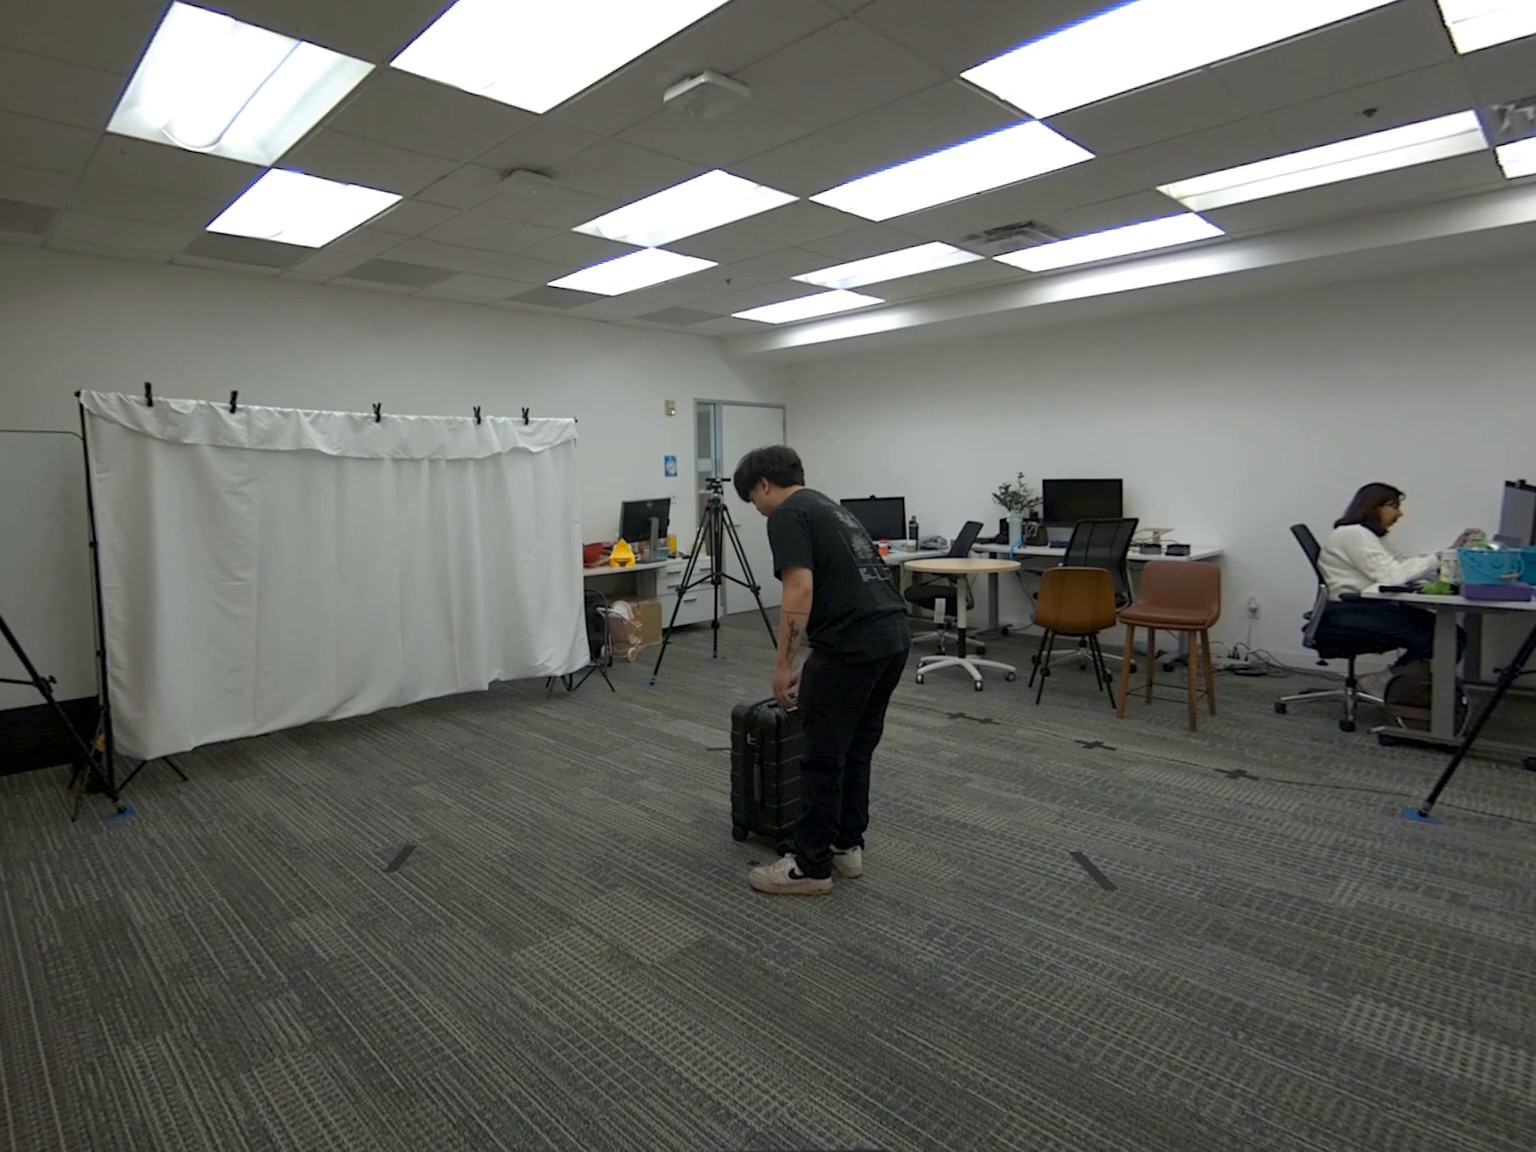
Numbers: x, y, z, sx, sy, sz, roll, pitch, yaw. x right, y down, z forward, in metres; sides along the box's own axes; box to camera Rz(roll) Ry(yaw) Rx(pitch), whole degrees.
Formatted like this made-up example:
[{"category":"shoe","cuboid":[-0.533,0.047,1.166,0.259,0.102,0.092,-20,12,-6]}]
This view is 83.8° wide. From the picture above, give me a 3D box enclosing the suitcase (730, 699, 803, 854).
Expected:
[{"category":"suitcase","cuboid":[0.048,0.739,3.336,0.256,0.547,0.366,1,5,43]}]
